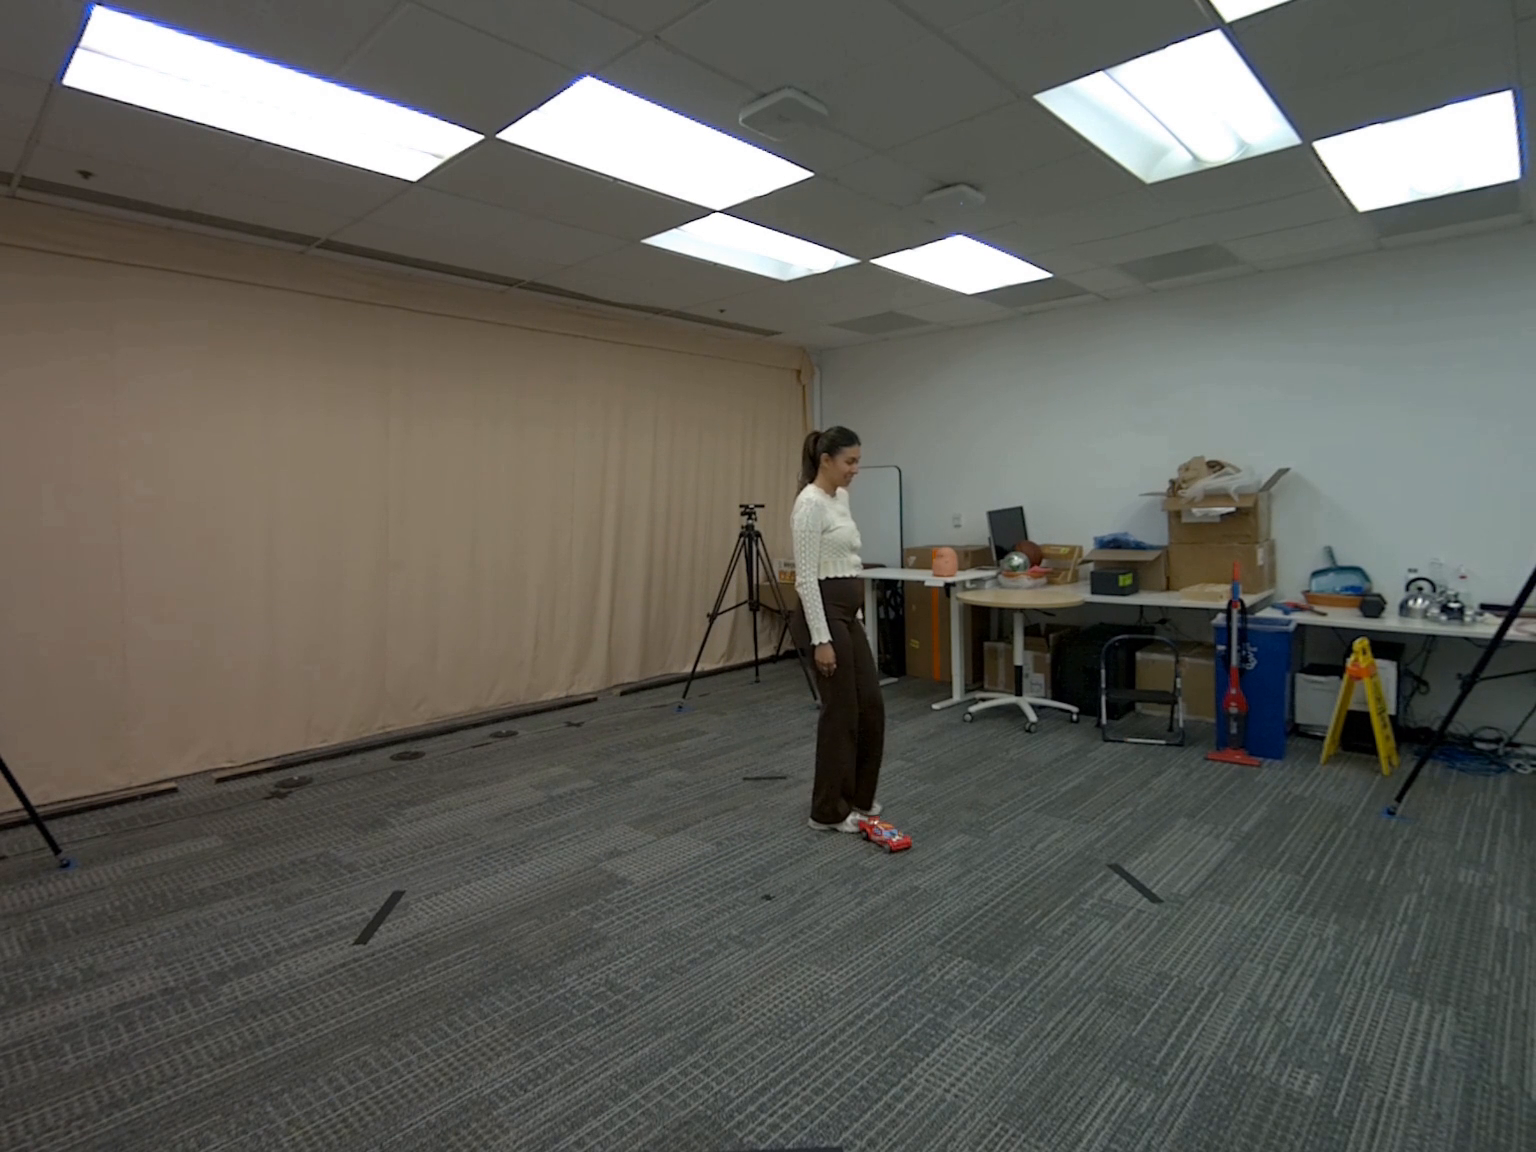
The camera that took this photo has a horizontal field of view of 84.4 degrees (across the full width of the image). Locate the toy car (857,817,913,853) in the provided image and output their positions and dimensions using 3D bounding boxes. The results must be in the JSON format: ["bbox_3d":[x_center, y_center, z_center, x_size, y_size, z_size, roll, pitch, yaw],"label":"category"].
[{"bbox_3d":[0.473,1.057,3.454,0.127,0.082,0.263,-3,16,-28],"label":"toy car"}]
